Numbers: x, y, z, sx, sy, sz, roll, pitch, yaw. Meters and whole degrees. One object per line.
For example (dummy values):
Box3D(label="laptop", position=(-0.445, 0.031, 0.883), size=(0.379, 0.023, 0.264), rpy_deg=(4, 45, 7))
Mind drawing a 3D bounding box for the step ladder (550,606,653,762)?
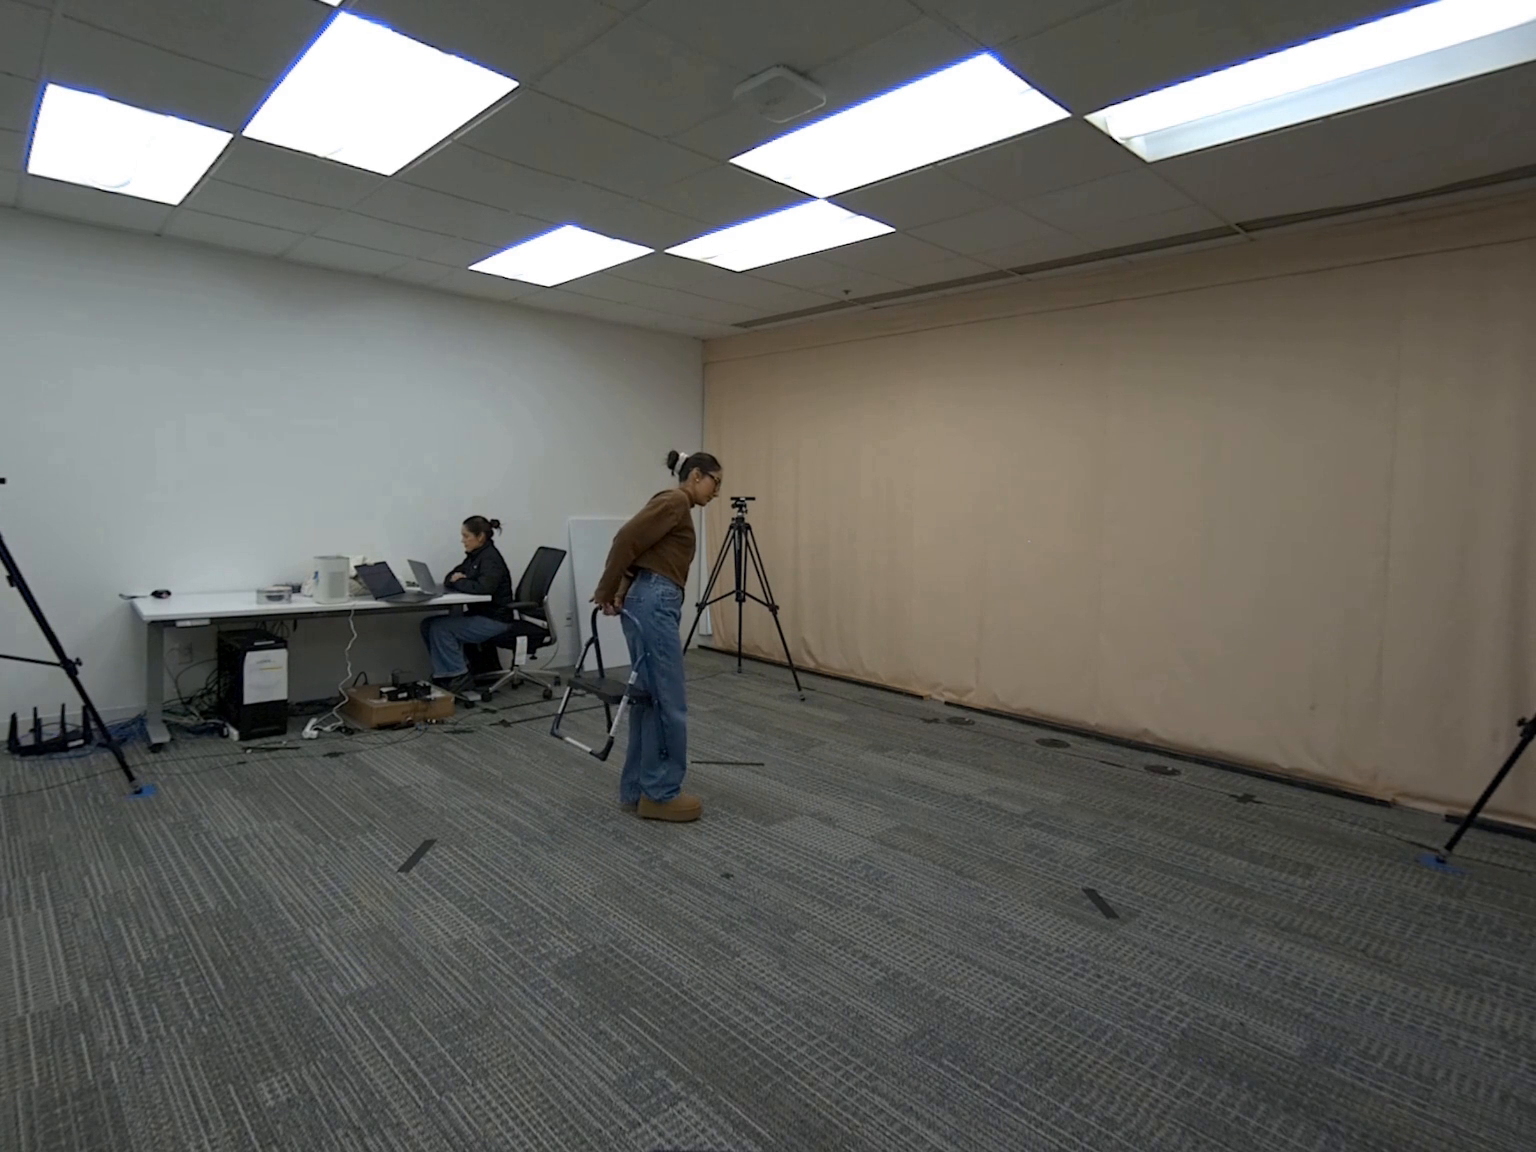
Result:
Box3D(label="step ladder", position=(-0.665, 0.440, 3.634), size=(0.442, 0.606, 0.340), rpy_deg=(7, -1, 44))
